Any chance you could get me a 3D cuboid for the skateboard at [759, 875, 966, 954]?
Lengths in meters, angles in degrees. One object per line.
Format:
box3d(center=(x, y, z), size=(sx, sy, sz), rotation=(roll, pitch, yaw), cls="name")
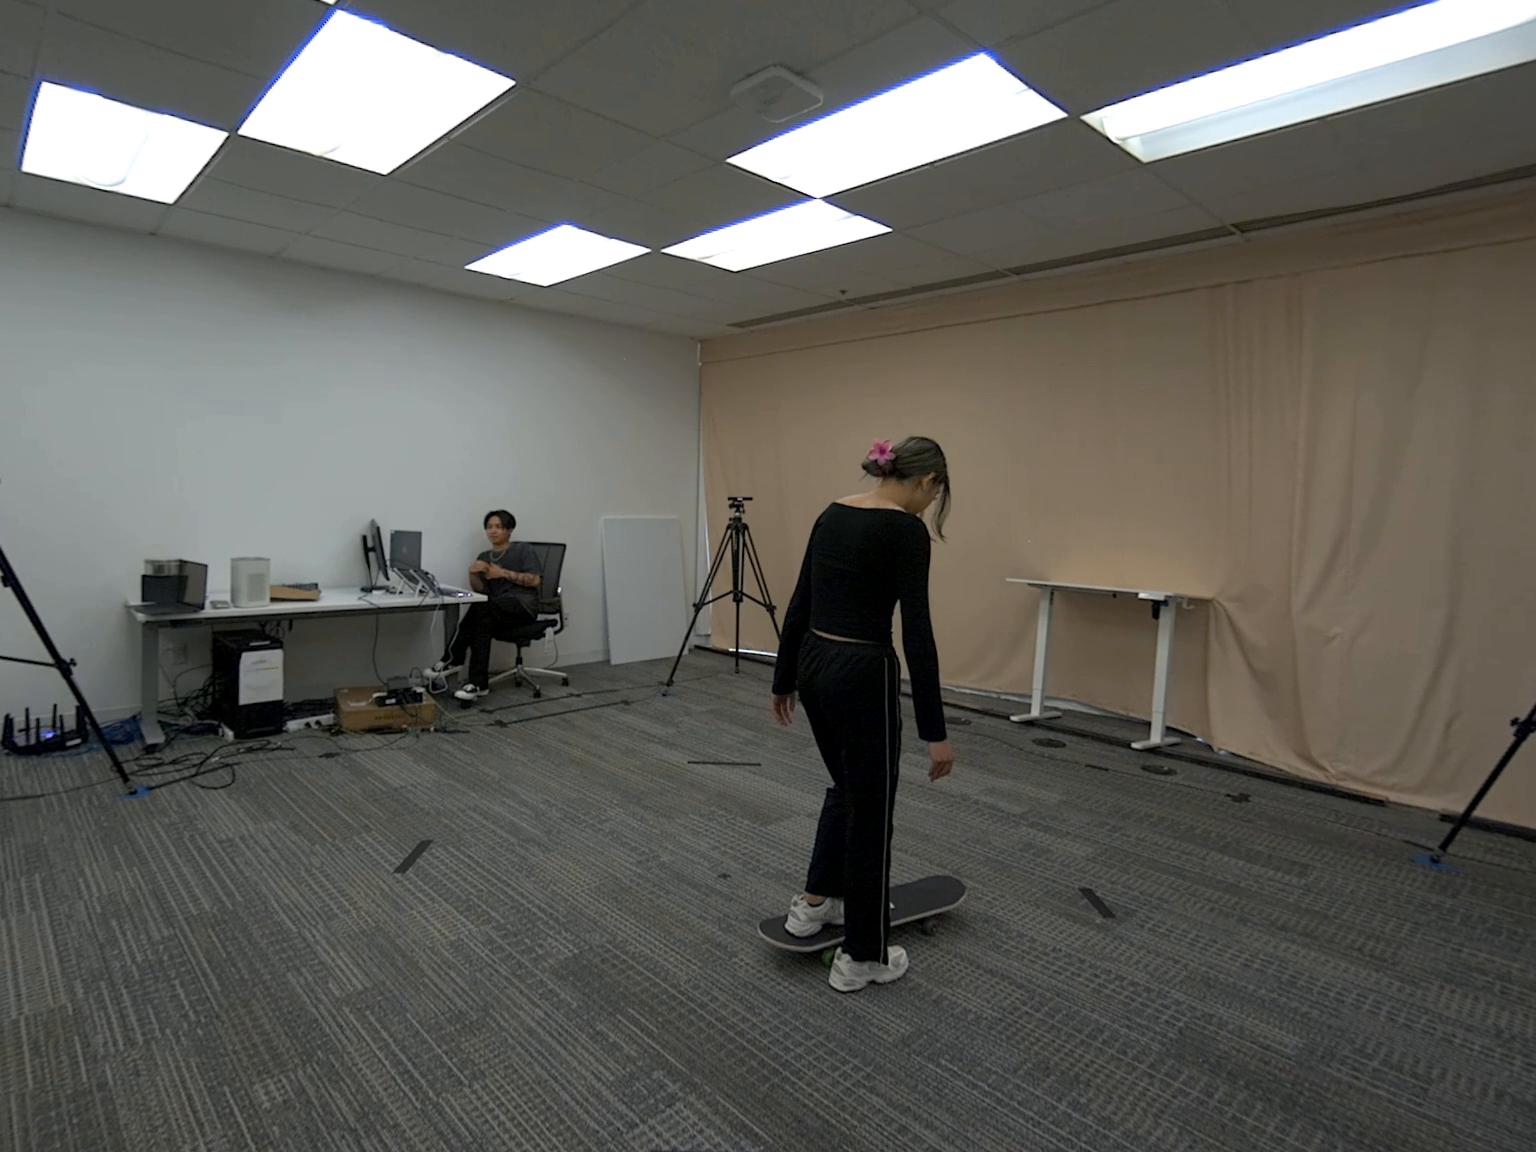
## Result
box3d(center=(0.314, 1.102, 2.681), size=(0.770, 0.110, 0.198), rotation=(-3, 7, -30), cls="skateboard")
